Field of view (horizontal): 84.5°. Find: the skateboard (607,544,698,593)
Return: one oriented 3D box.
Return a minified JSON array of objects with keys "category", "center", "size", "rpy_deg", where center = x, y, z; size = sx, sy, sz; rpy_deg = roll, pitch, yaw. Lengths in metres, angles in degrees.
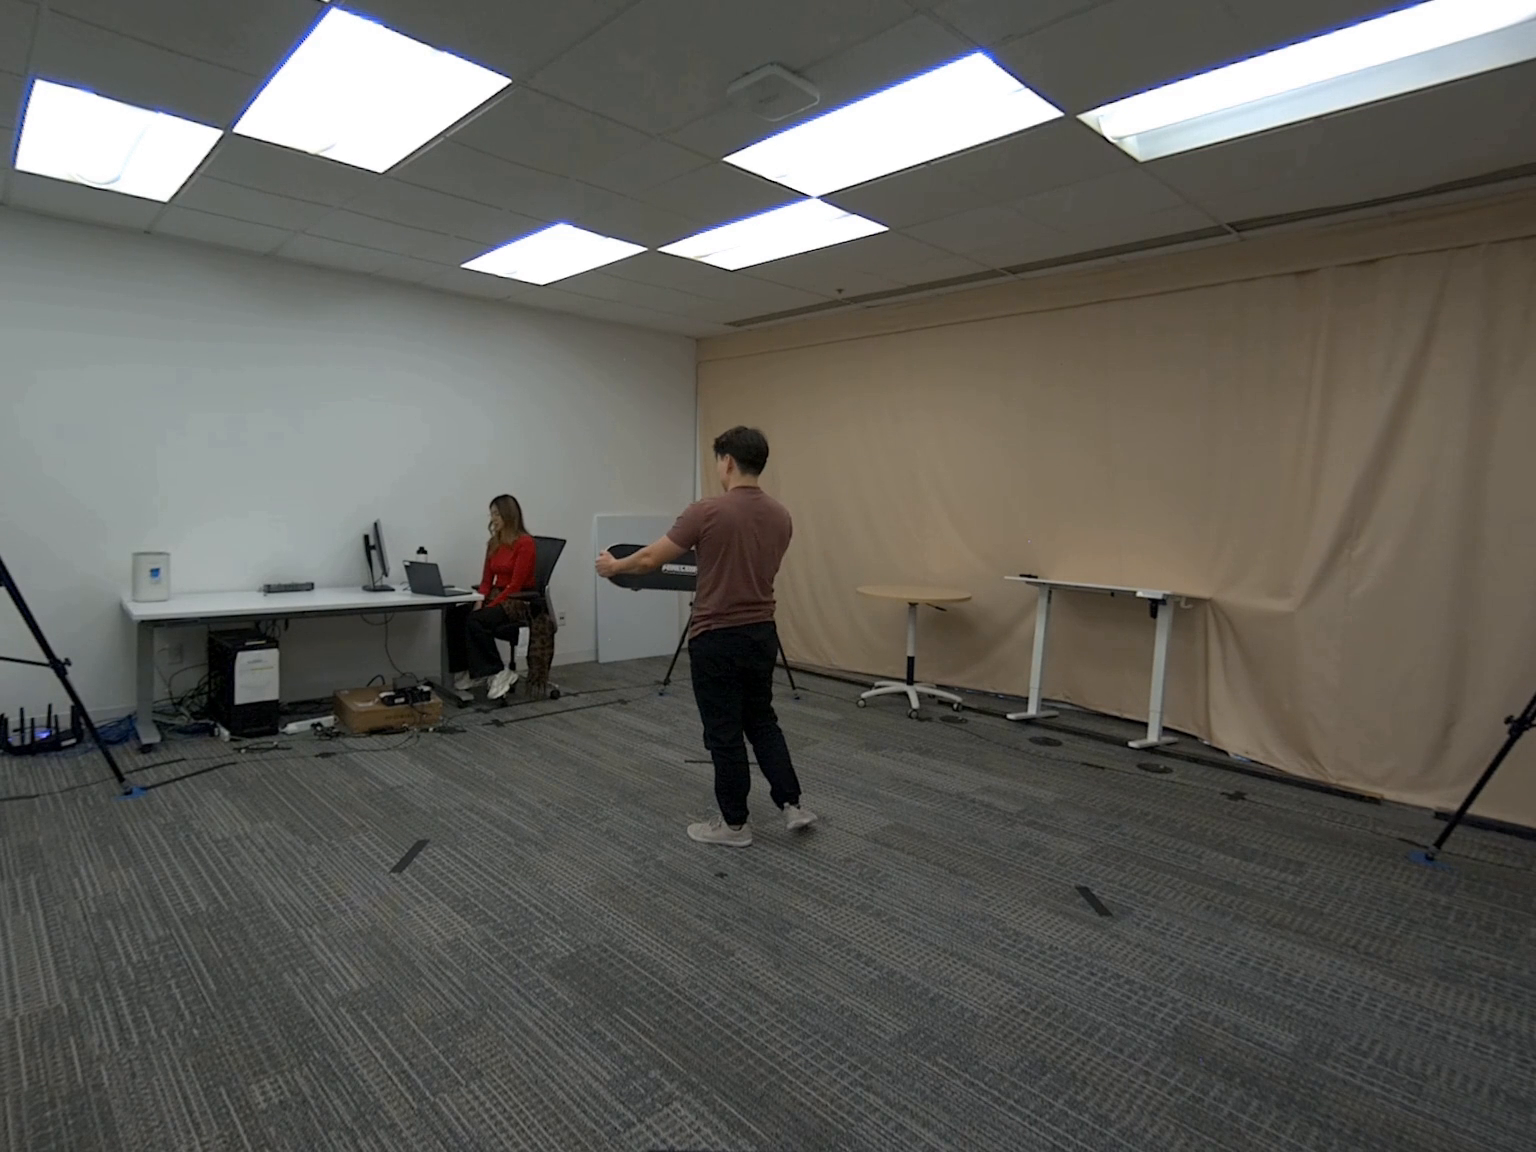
[{"category":"skateboard","center":[-0.393,-0.021,3.732],"size":[0.767,0.195,0.112],"rpy_deg":[4,-15,-33]}]
